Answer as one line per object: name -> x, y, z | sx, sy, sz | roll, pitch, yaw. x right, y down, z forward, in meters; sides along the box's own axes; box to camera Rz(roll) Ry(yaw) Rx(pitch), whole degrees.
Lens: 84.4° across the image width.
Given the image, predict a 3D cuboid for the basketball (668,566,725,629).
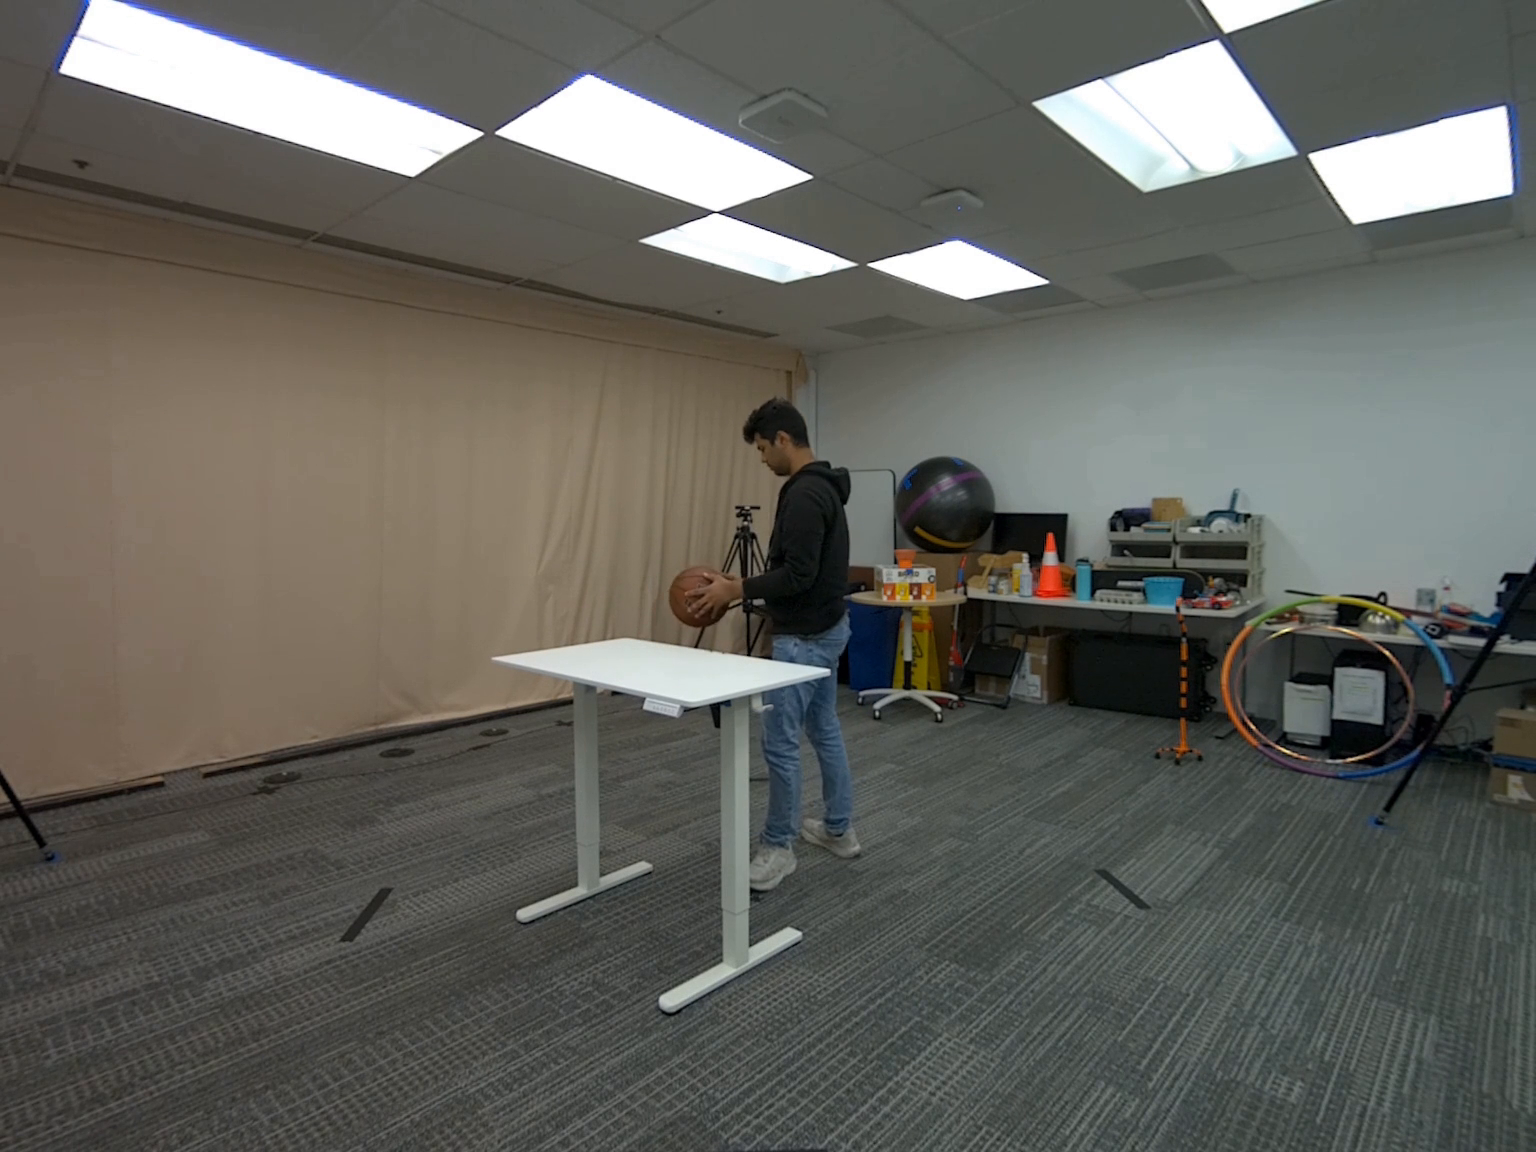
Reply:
basketball -> -0.257, 0.089, 3.252 | 0.236, 0.235, 0.237 | 0, 4, -2
